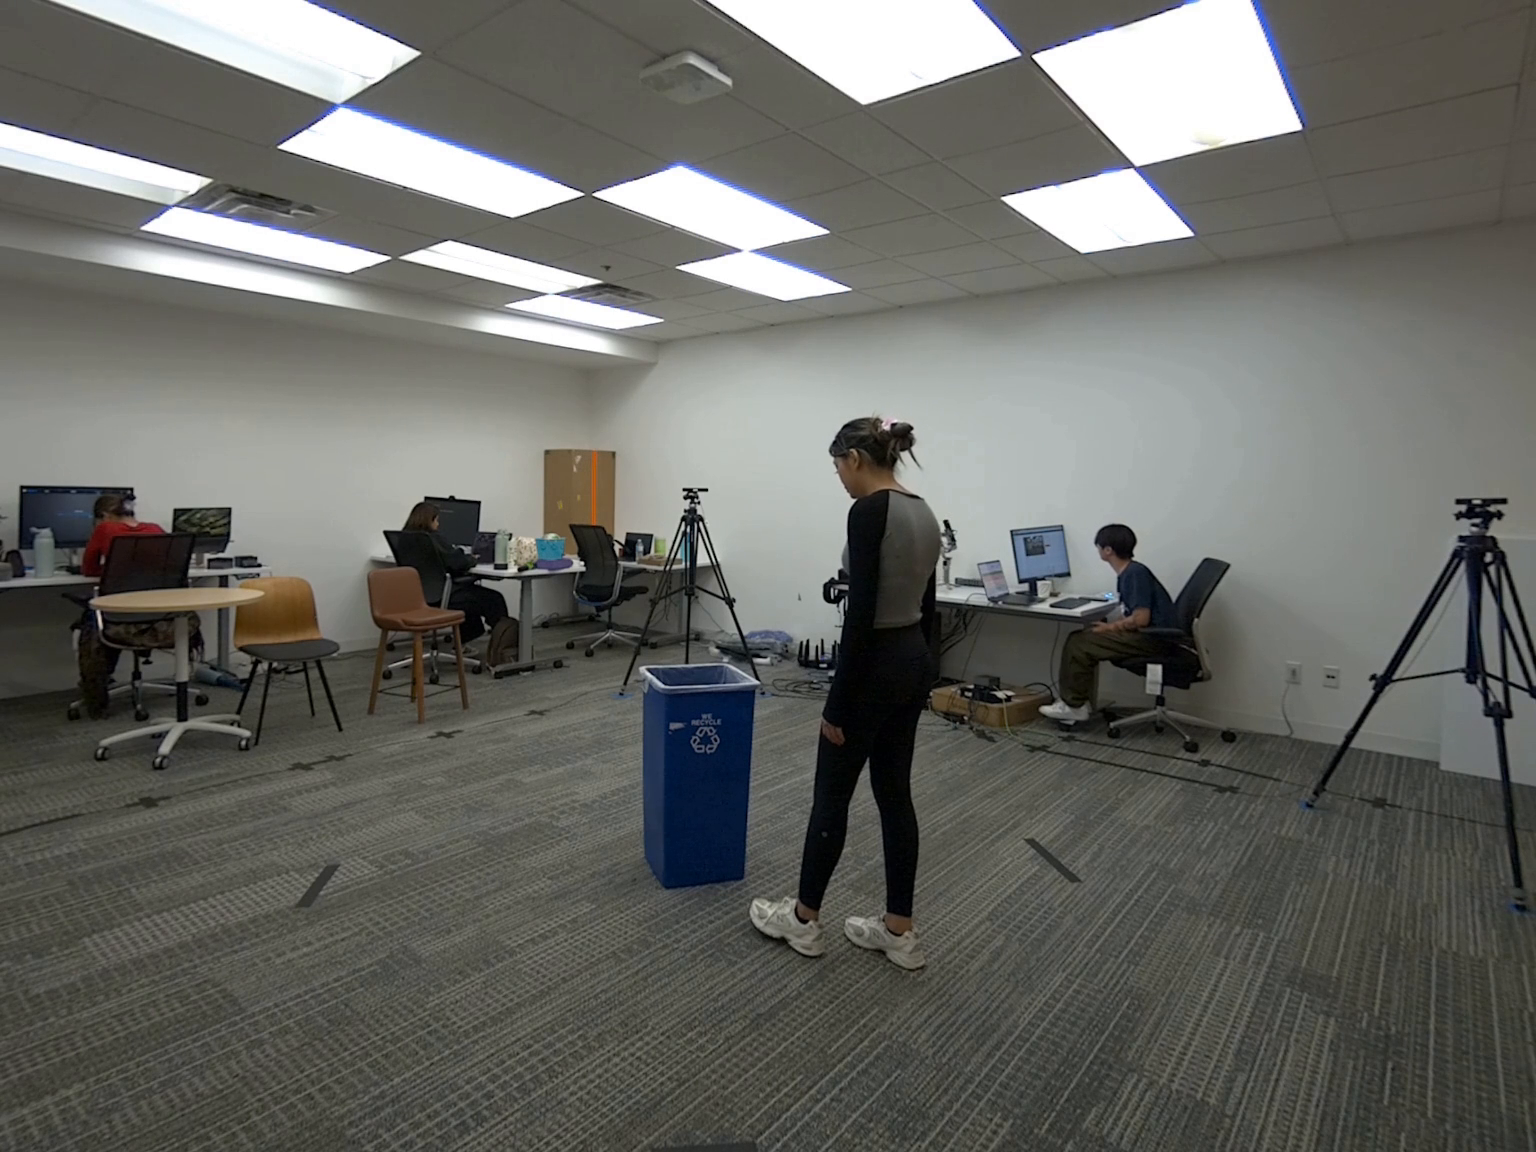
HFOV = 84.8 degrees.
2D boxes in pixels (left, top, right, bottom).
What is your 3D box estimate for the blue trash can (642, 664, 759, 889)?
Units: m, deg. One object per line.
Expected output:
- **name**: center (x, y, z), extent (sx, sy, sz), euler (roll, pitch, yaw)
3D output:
- **blue trash can**: center (-0.269, 0.711, 3.106), extent (0.370, 0.712, 0.383), euler (0, 3, -22)
